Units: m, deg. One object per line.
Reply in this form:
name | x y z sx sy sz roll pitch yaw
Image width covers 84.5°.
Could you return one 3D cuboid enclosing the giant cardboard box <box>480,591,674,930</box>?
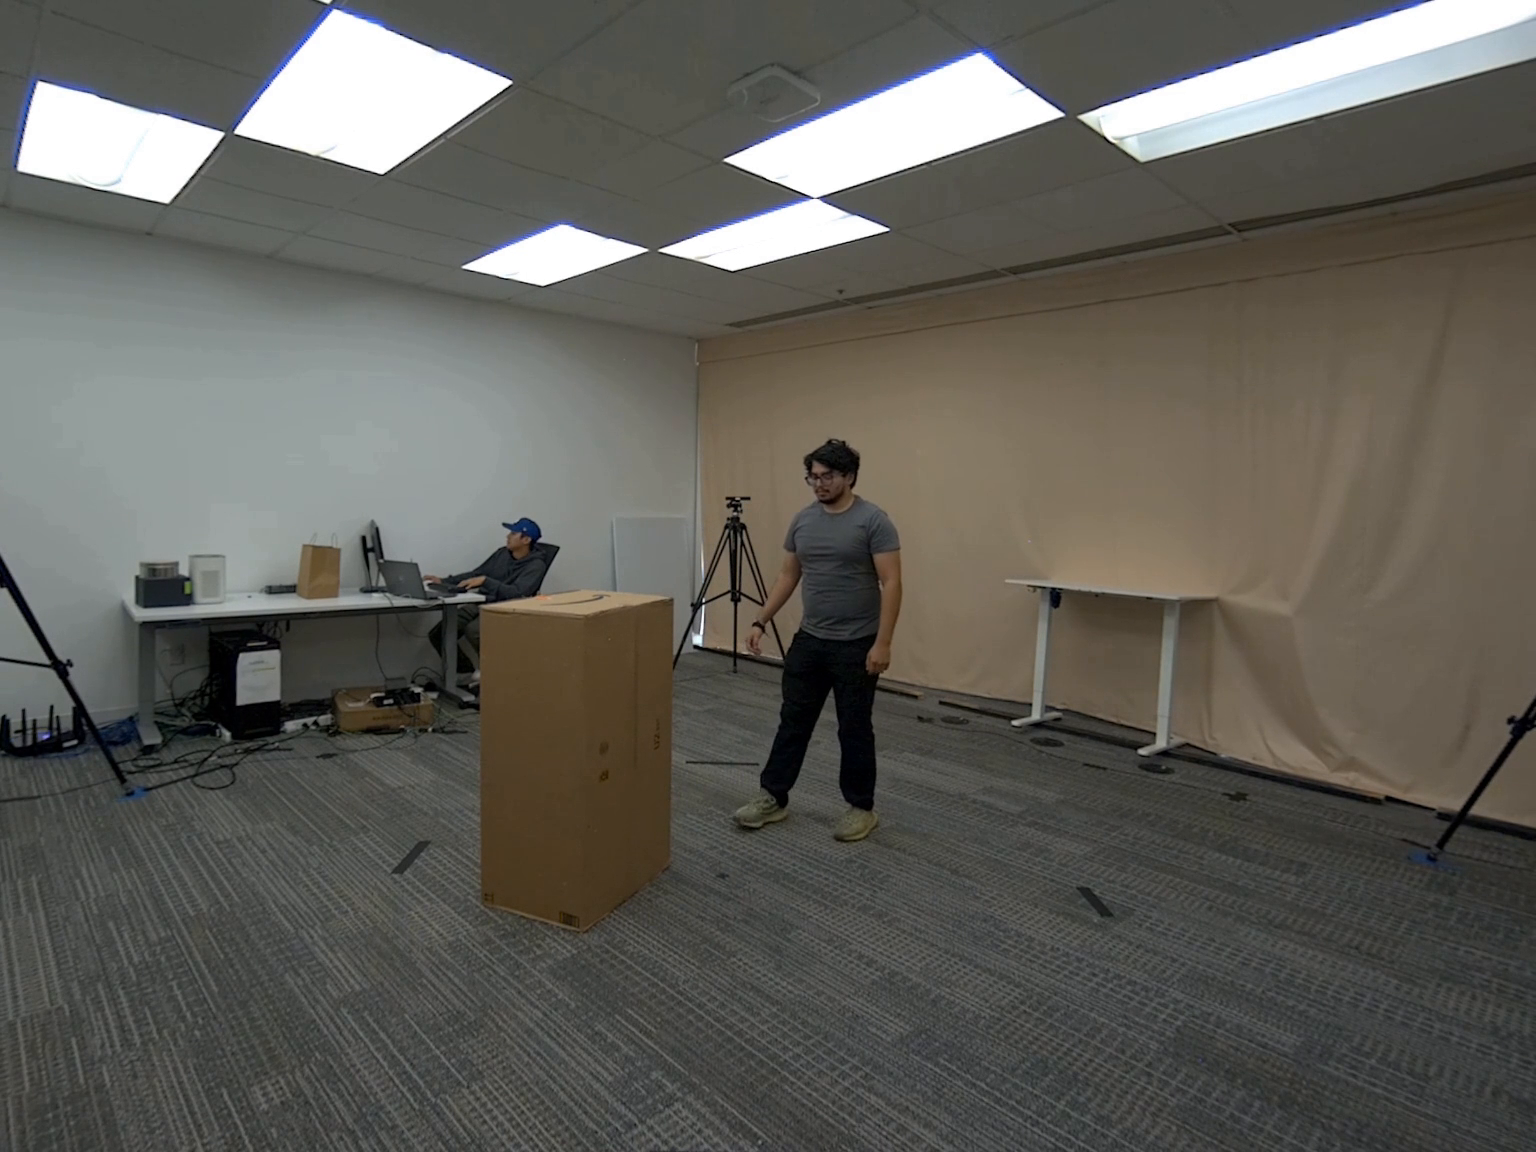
giant cardboard box | -0.670 0.597 2.987 0.434 1.023 0.568 3 4 25
